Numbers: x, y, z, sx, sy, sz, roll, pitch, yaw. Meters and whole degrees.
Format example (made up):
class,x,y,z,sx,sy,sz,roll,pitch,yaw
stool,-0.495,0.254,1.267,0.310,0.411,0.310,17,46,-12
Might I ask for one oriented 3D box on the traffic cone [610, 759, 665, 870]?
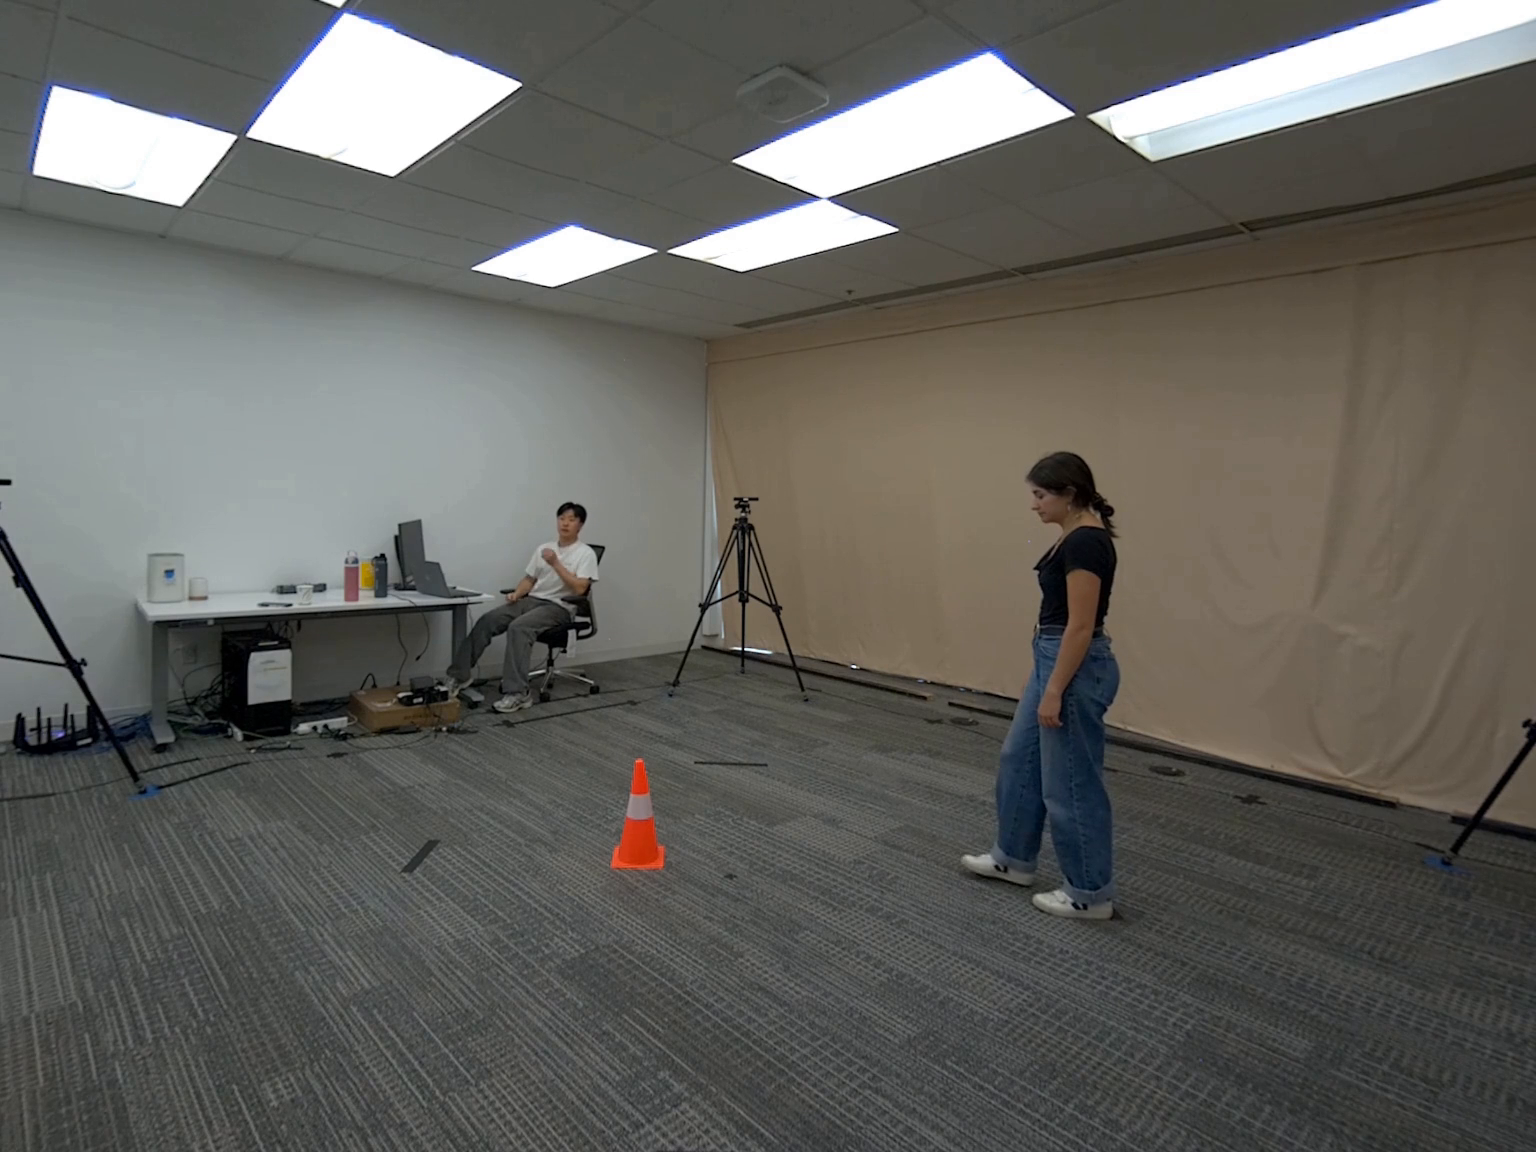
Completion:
class,x,y,z,sx,sy,sz,roll,pitch,yaw
traffic cone,-0.493,0.898,3.246,0.204,0.382,0.204,3,4,-4
